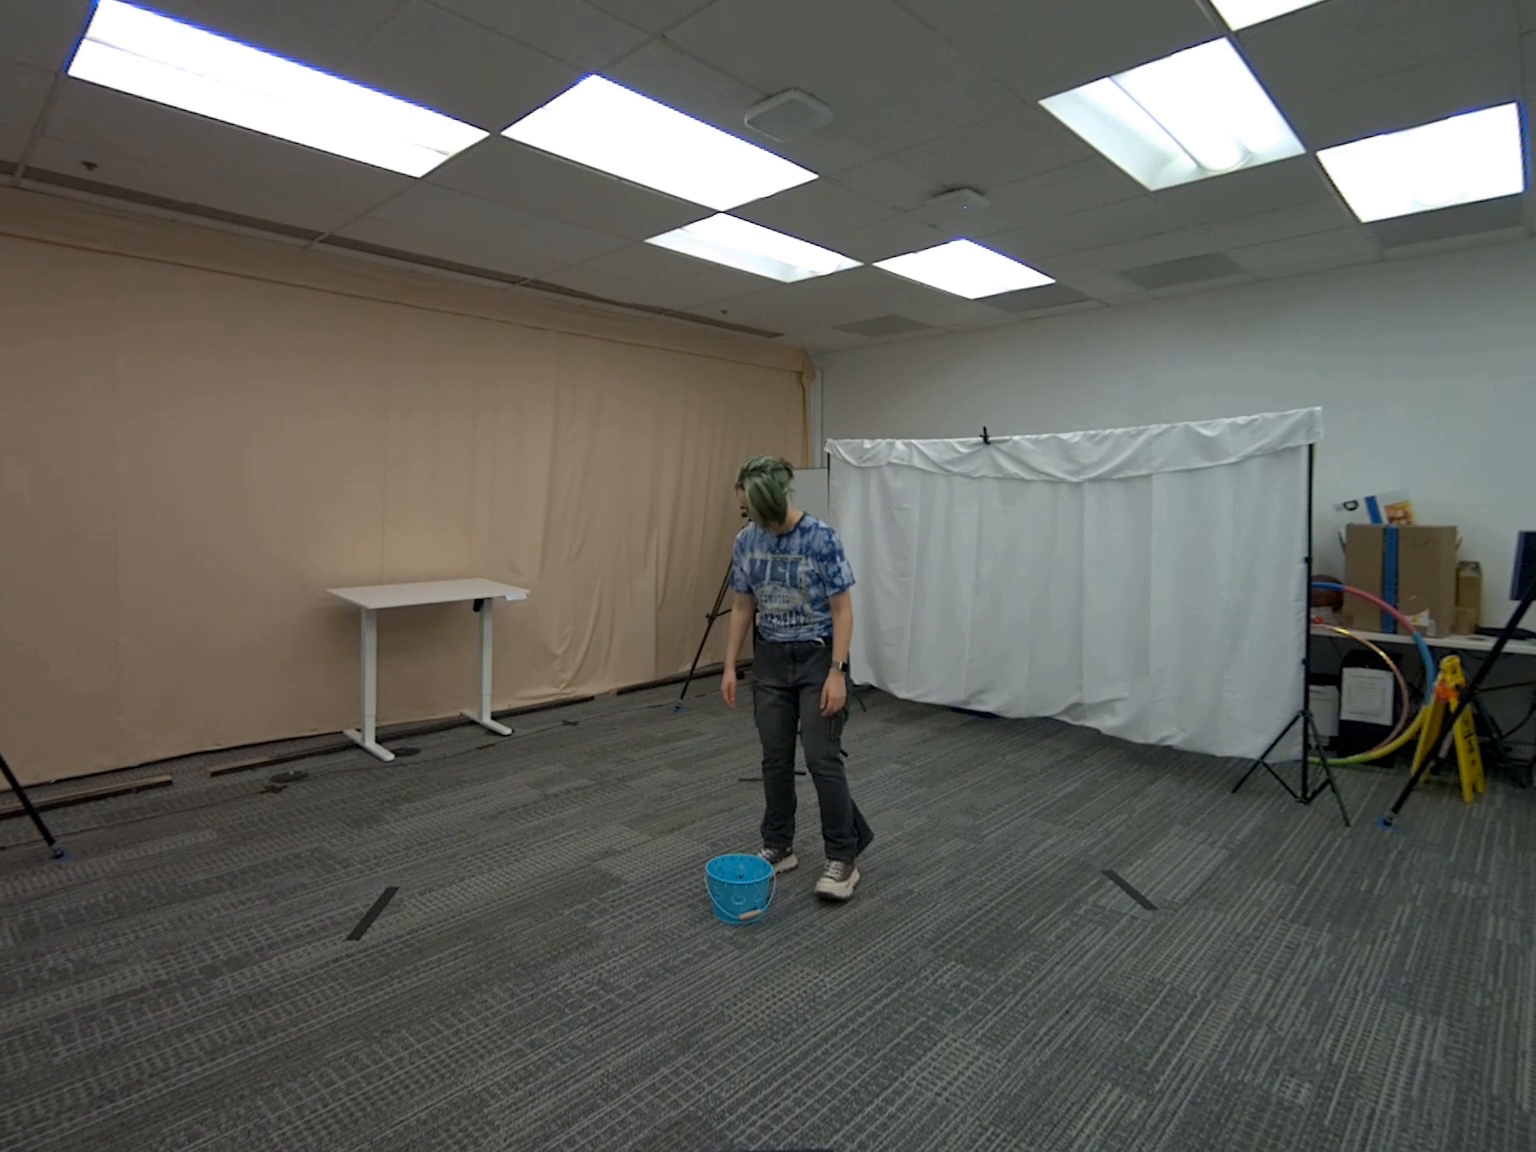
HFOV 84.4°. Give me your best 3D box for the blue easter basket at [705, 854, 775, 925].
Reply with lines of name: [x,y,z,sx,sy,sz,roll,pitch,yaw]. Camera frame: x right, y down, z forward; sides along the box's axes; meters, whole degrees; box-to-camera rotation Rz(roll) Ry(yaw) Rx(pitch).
blue easter basket: [-0.095,1.074,2.890,0.243,0.155,0.244,-1,4,-2]
